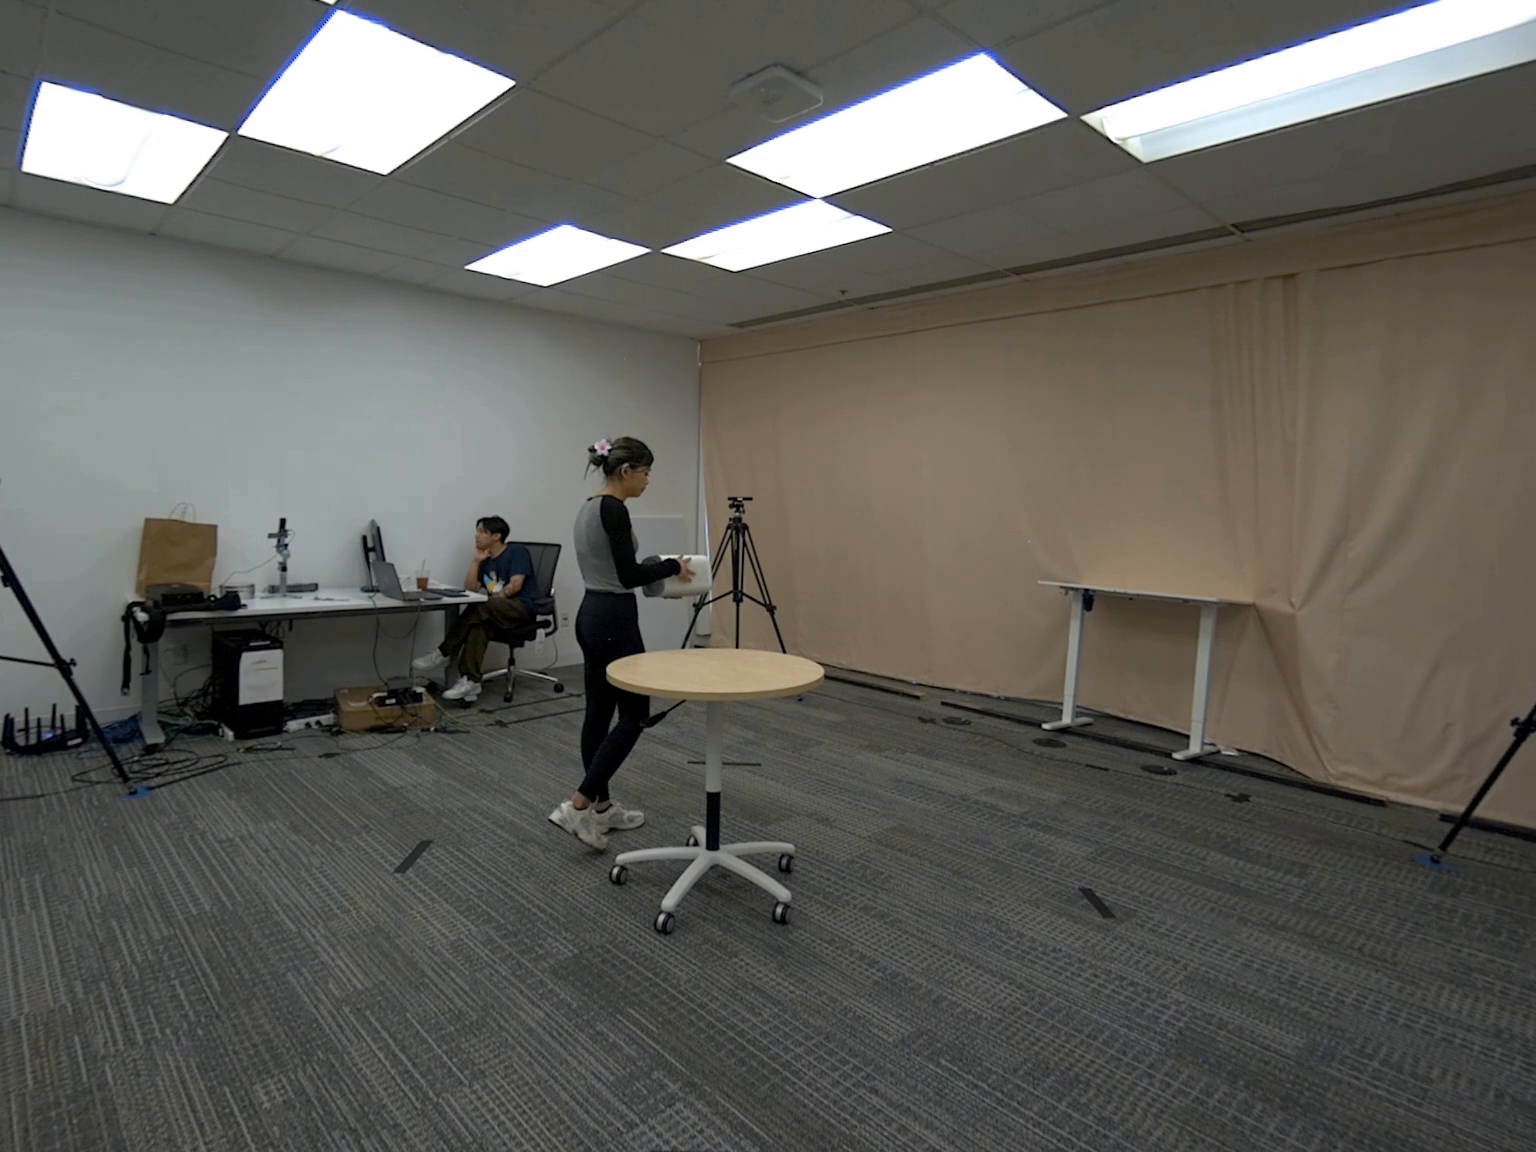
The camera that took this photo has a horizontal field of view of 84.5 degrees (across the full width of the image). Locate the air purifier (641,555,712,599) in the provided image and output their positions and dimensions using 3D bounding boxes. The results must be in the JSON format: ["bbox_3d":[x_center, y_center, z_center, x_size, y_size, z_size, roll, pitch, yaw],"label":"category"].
[{"bbox_3d":[-0.391,-0.001,3.576,0.259,0.173,0.174,-1,-10,-40],"label":"air purifier"}]
